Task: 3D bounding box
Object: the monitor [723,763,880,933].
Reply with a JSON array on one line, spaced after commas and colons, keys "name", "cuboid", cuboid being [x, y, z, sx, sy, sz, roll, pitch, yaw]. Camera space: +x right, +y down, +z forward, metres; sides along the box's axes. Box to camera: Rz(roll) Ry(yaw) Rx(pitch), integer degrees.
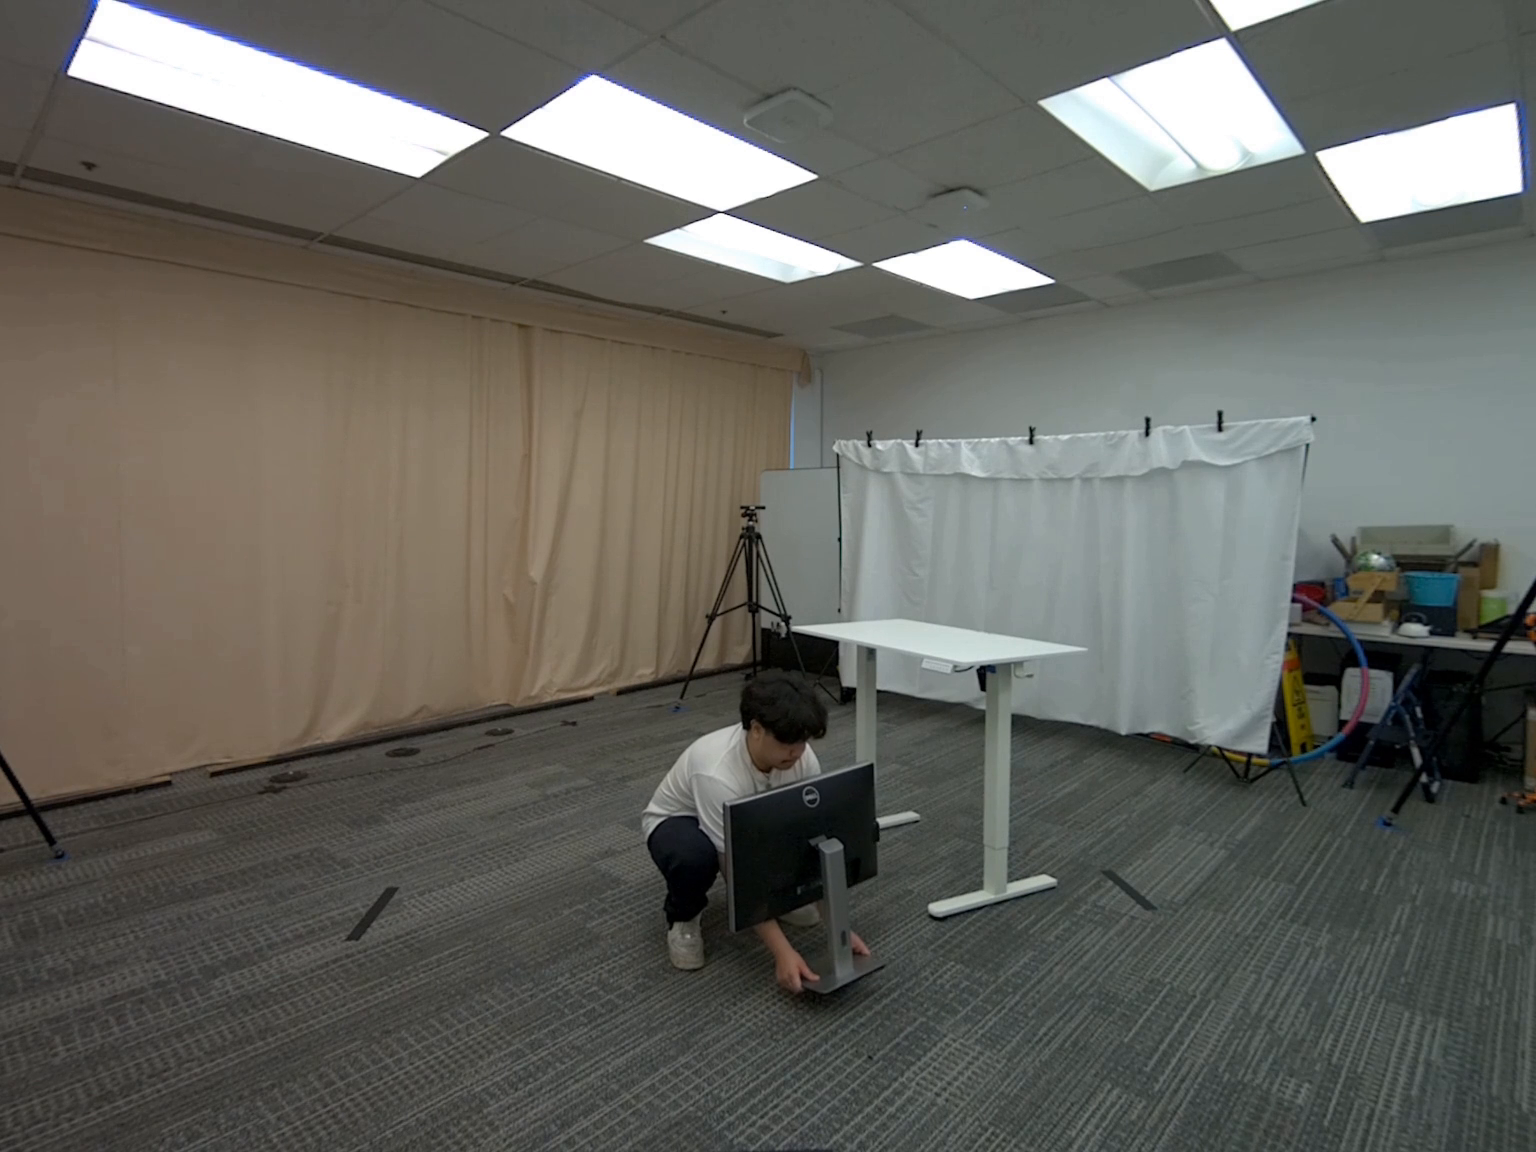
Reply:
[{"name": "monitor", "cuboid": [0.163, 0.860, 2.400, 0.549, 0.554, 0.216, -4, -1, -37]}]
